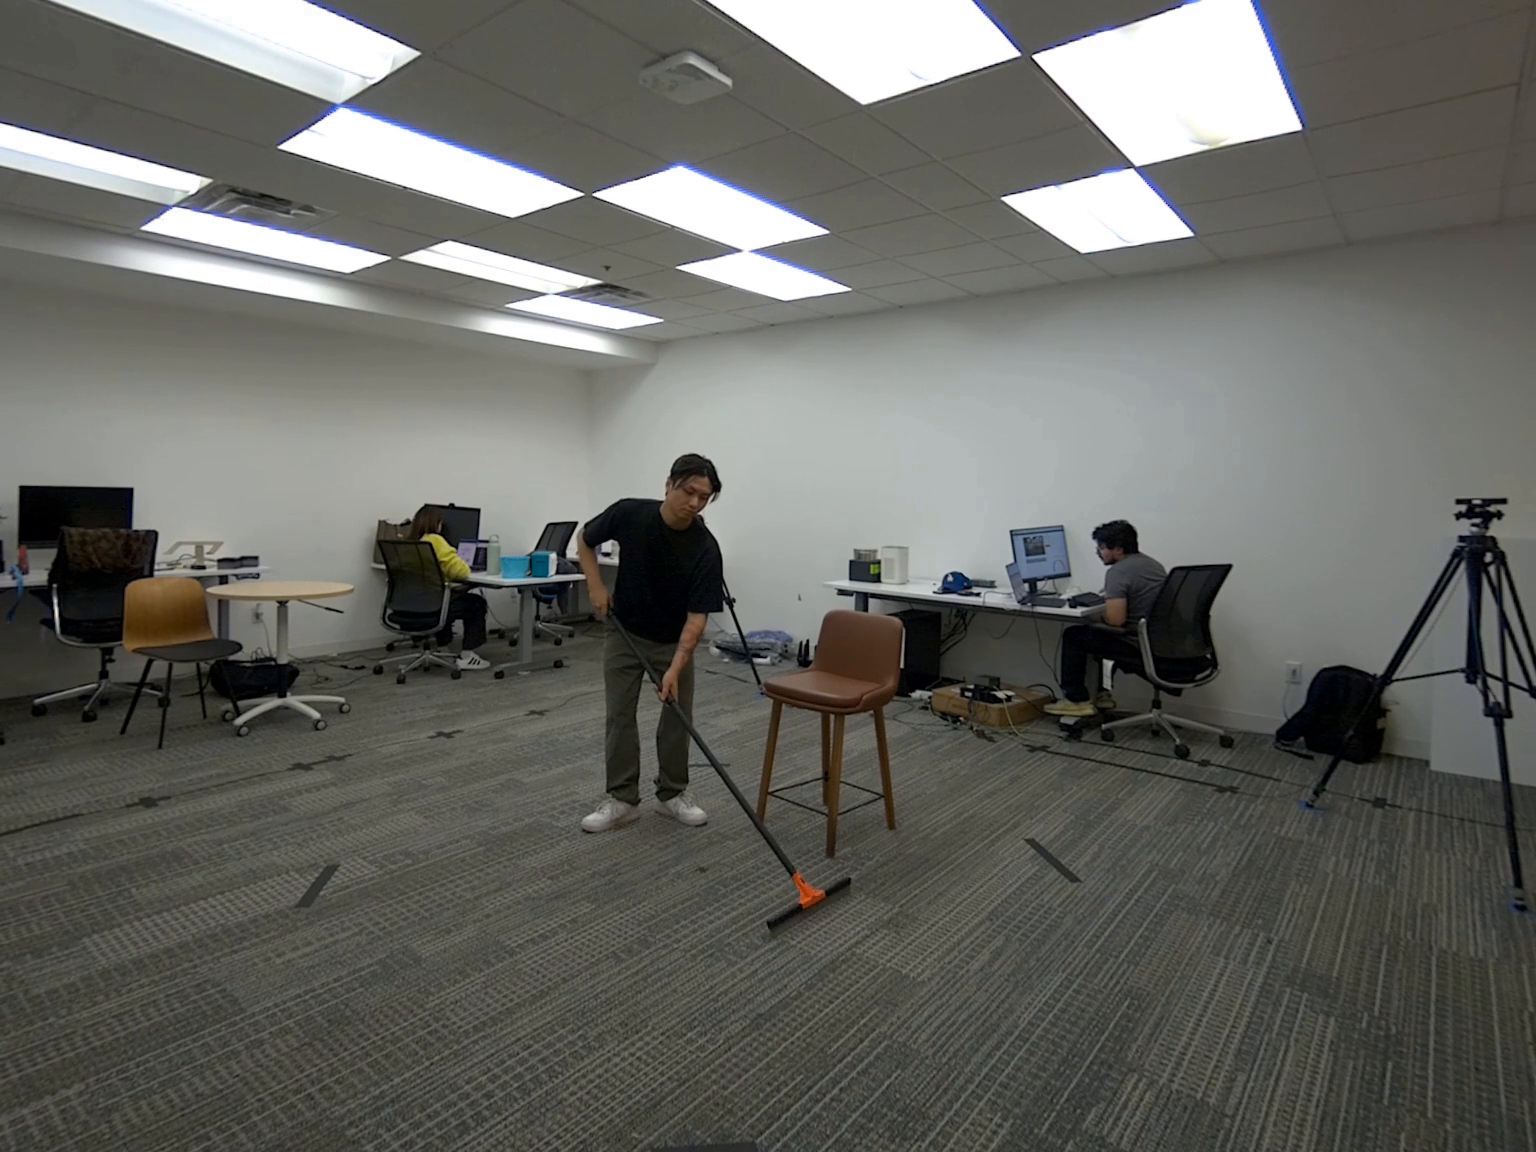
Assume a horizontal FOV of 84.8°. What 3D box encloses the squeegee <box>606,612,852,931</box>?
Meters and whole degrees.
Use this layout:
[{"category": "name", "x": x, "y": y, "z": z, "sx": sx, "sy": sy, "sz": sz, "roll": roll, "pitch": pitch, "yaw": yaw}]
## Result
[{"category": "squeegee", "x": -0.320, "y": 0.546, "z": 3.167, "sx": 0.425, "sy": 0.052, "sz": 1.593, "roll": -6, "pitch": 46, "yaw": -49}]
